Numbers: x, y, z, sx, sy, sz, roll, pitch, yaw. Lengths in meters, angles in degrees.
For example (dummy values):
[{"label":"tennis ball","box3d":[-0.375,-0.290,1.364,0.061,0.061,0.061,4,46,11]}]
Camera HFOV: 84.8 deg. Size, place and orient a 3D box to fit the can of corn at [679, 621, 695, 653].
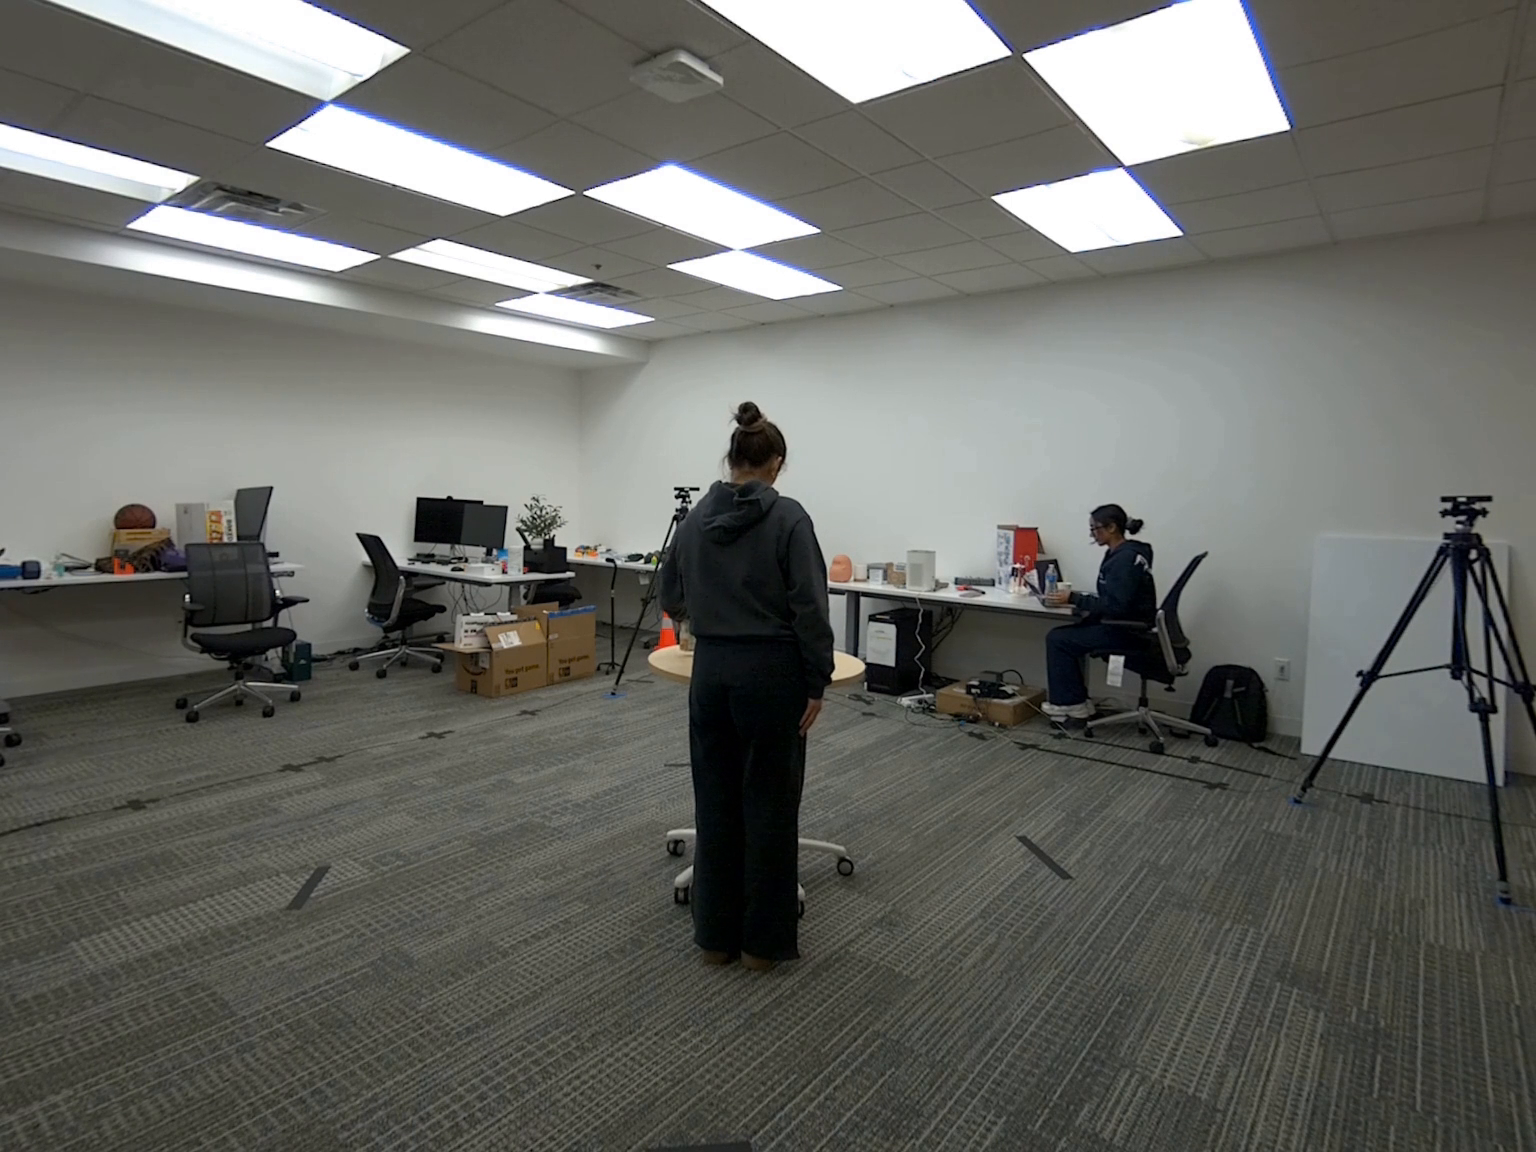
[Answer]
[{"label":"can of corn","box3d":[-0.285,0.209,3.054,0.074,0.110,0.075,-1,6,-2]}]
